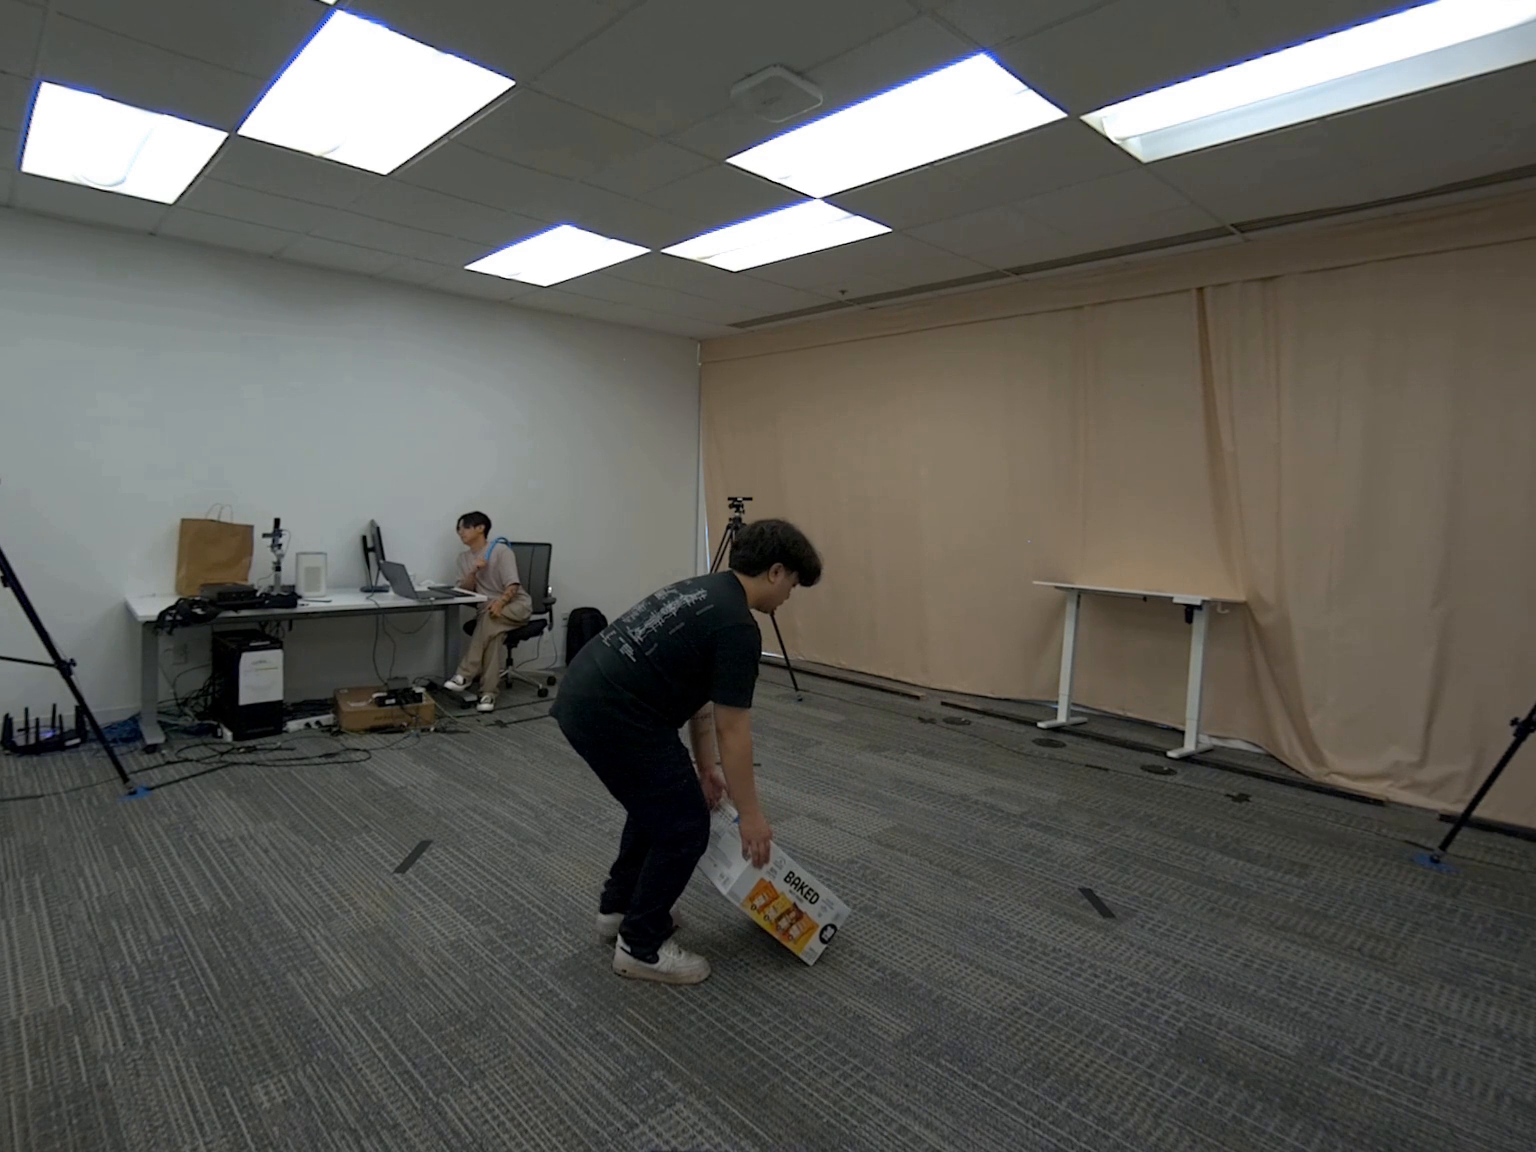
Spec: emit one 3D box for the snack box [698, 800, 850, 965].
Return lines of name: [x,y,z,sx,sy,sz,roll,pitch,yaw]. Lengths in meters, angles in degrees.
snack box: [-0.015,0.947,2.618,0.396,0.206,0.348,46,-14,-22]
